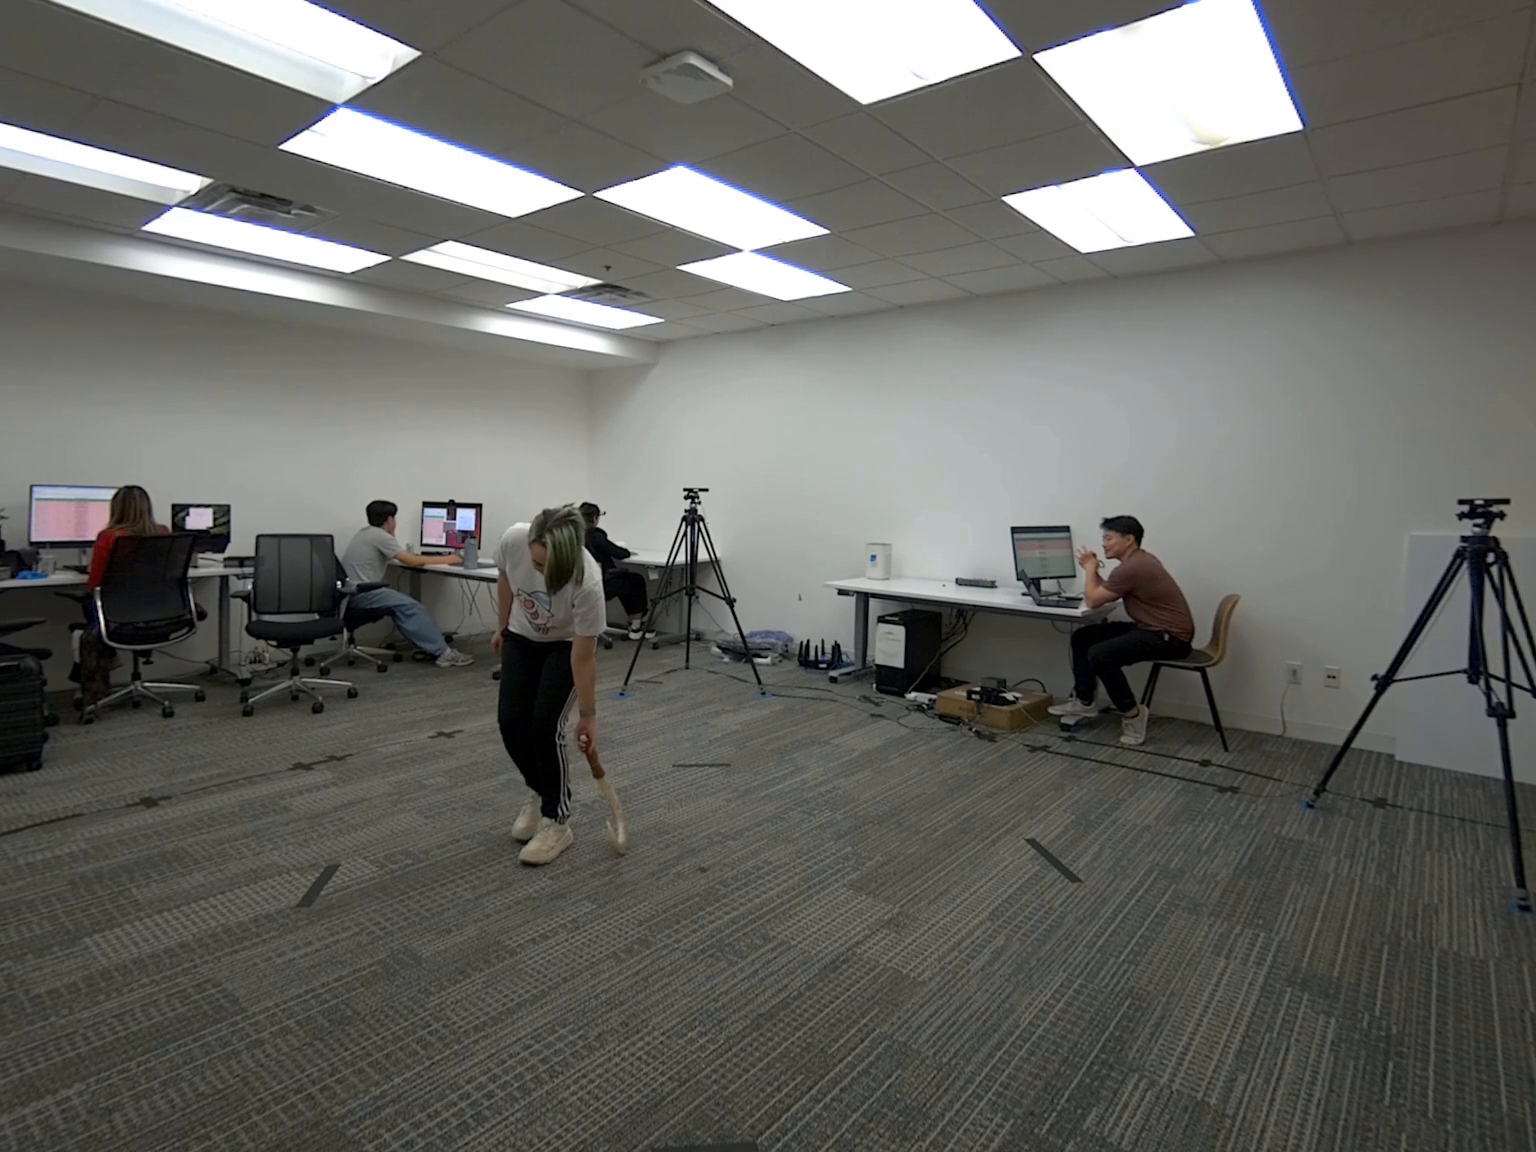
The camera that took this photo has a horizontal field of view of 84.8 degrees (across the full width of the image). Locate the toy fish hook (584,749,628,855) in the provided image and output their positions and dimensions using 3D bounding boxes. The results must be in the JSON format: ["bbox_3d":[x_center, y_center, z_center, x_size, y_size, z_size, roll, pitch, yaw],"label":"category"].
[{"bbox_3d":[-0.624,0.819,3.174,0.048,0.494,0.231,-21,21,-4],"label":"toy fish hook"}]
